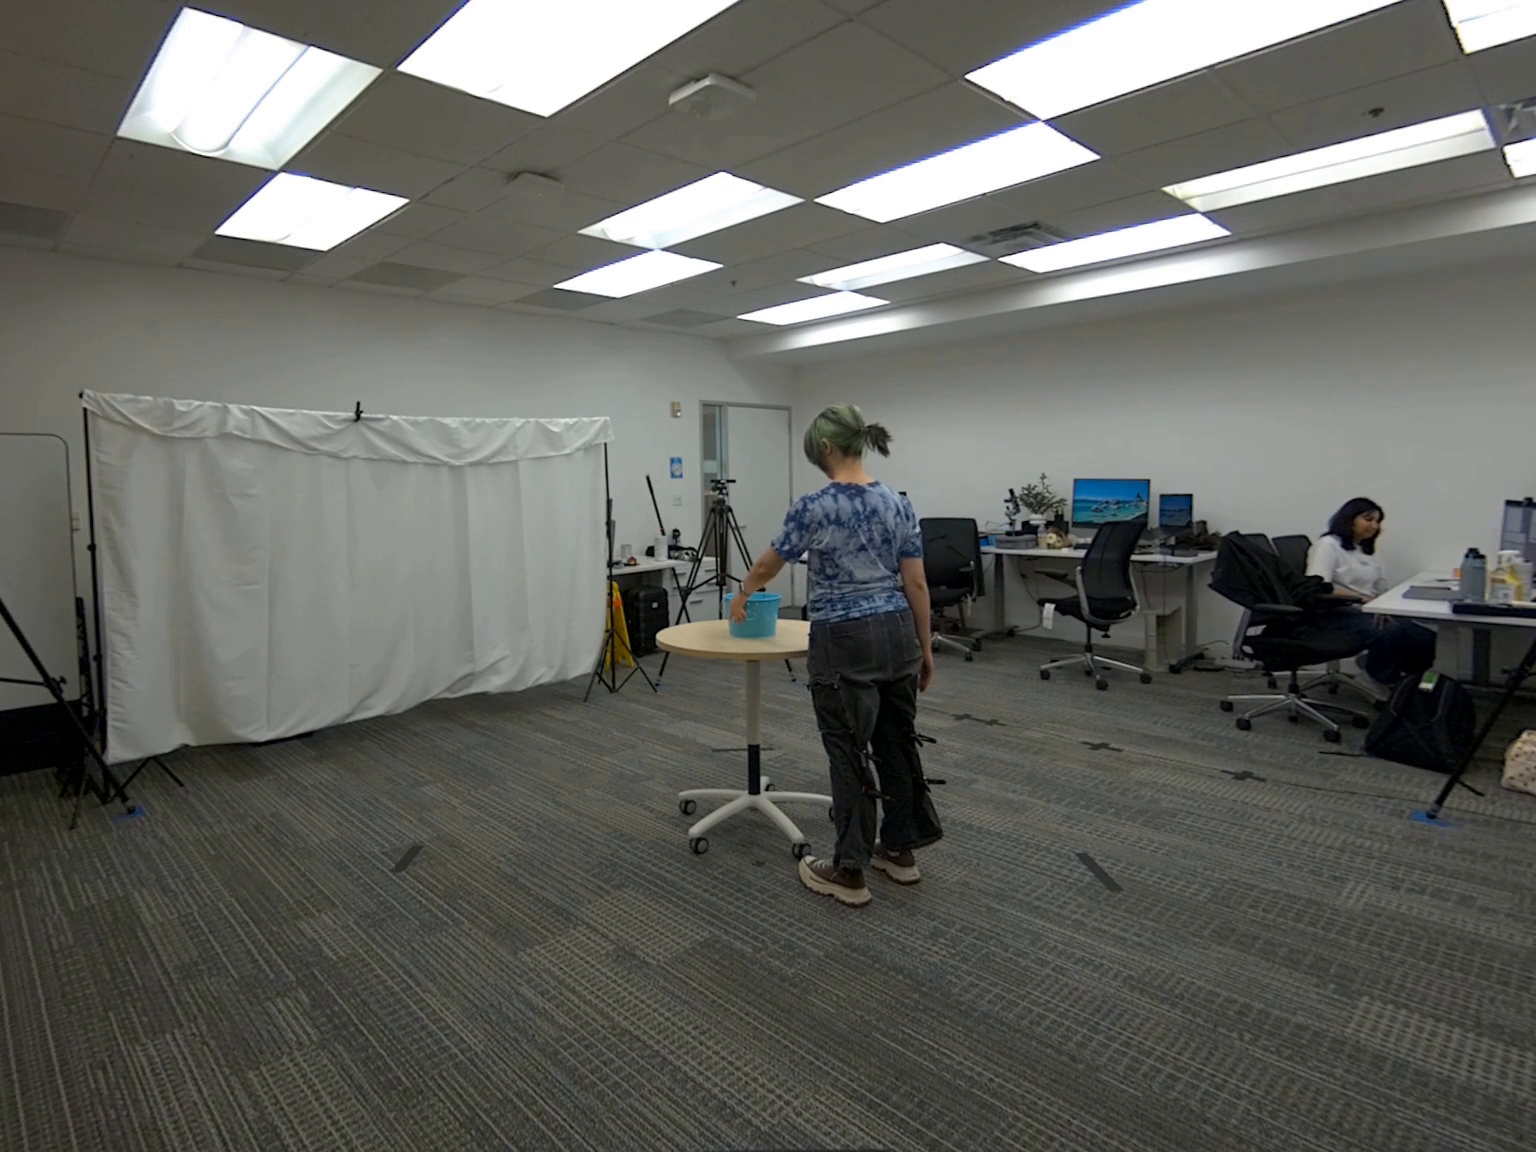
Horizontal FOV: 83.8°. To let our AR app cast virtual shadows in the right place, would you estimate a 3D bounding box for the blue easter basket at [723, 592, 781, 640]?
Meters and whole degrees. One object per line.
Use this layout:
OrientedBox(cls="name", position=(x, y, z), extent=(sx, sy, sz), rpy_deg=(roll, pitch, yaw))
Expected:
OrientedBox(cls="blue easter basket", position=(-0.056, 0.159, 3.388), extent=(0.243, 0.155, 0.245), rpy_deg=(1, 5, -2))
